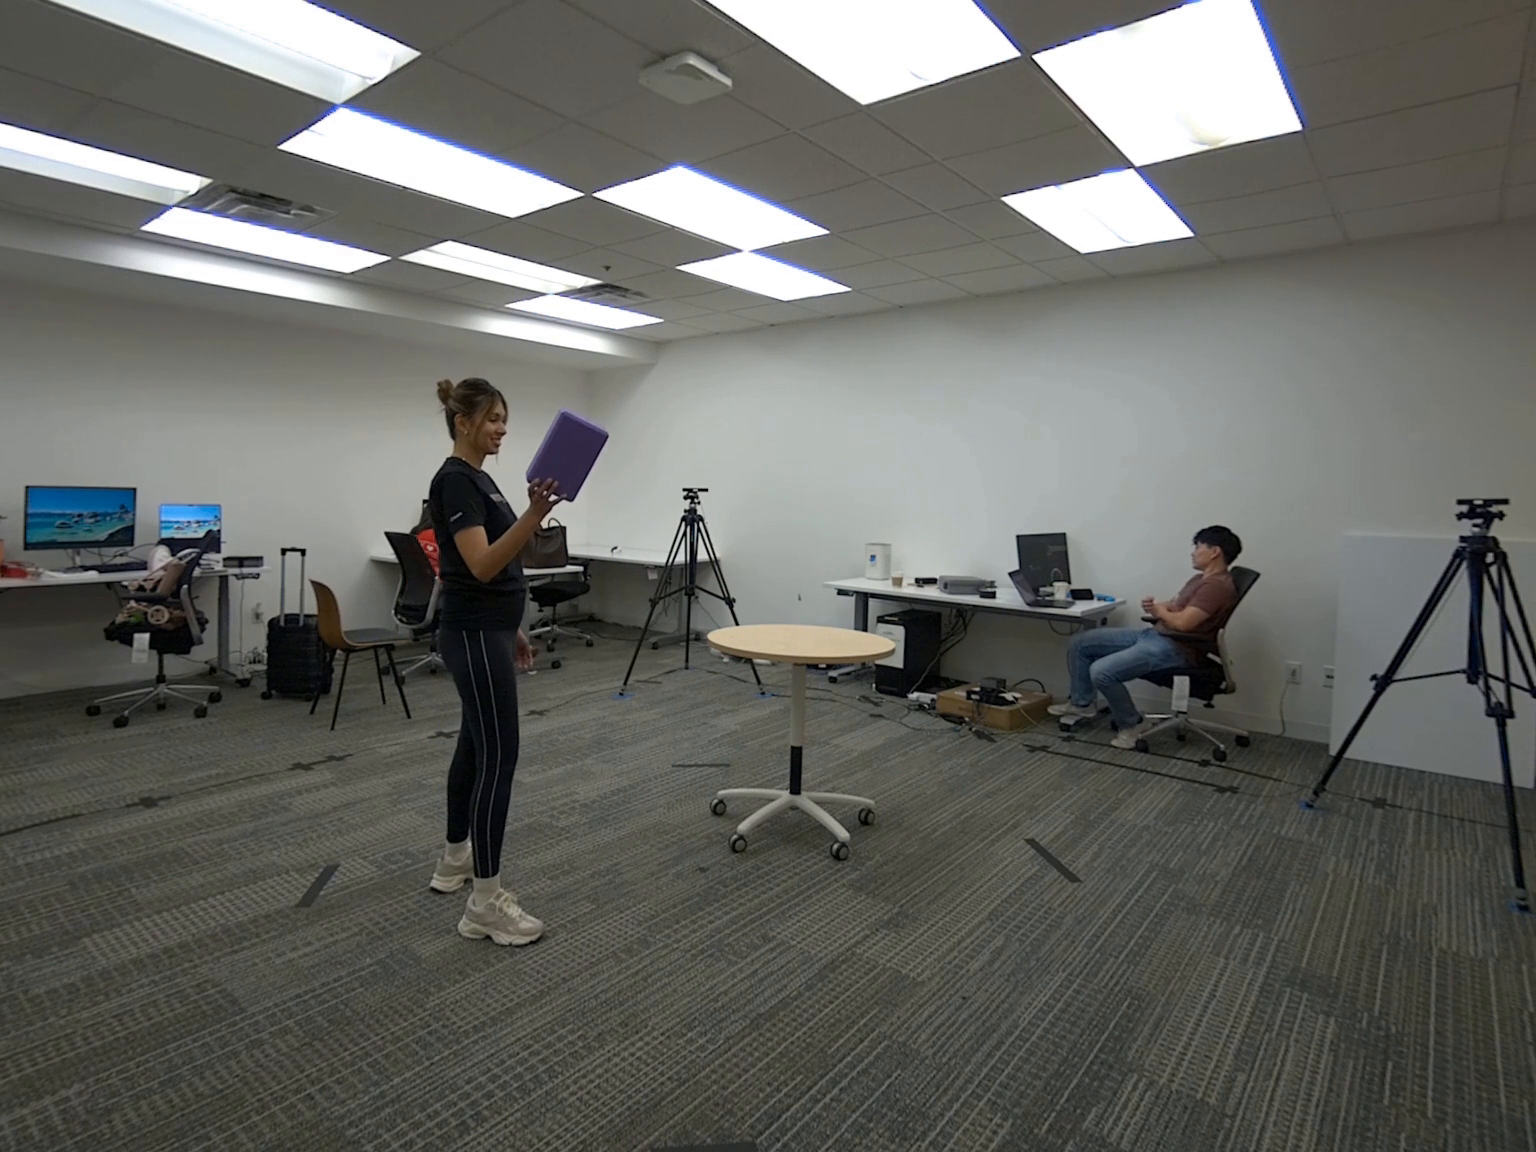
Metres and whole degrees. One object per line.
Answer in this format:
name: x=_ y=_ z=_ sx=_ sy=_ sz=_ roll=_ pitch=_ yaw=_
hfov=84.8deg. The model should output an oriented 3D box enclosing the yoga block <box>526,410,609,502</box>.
yoga block: x=-0.578 y=-0.342 z=2.391 sx=0.145 sy=0.228 sz=0.079 roll=26 pitch=15 yaw=-22
